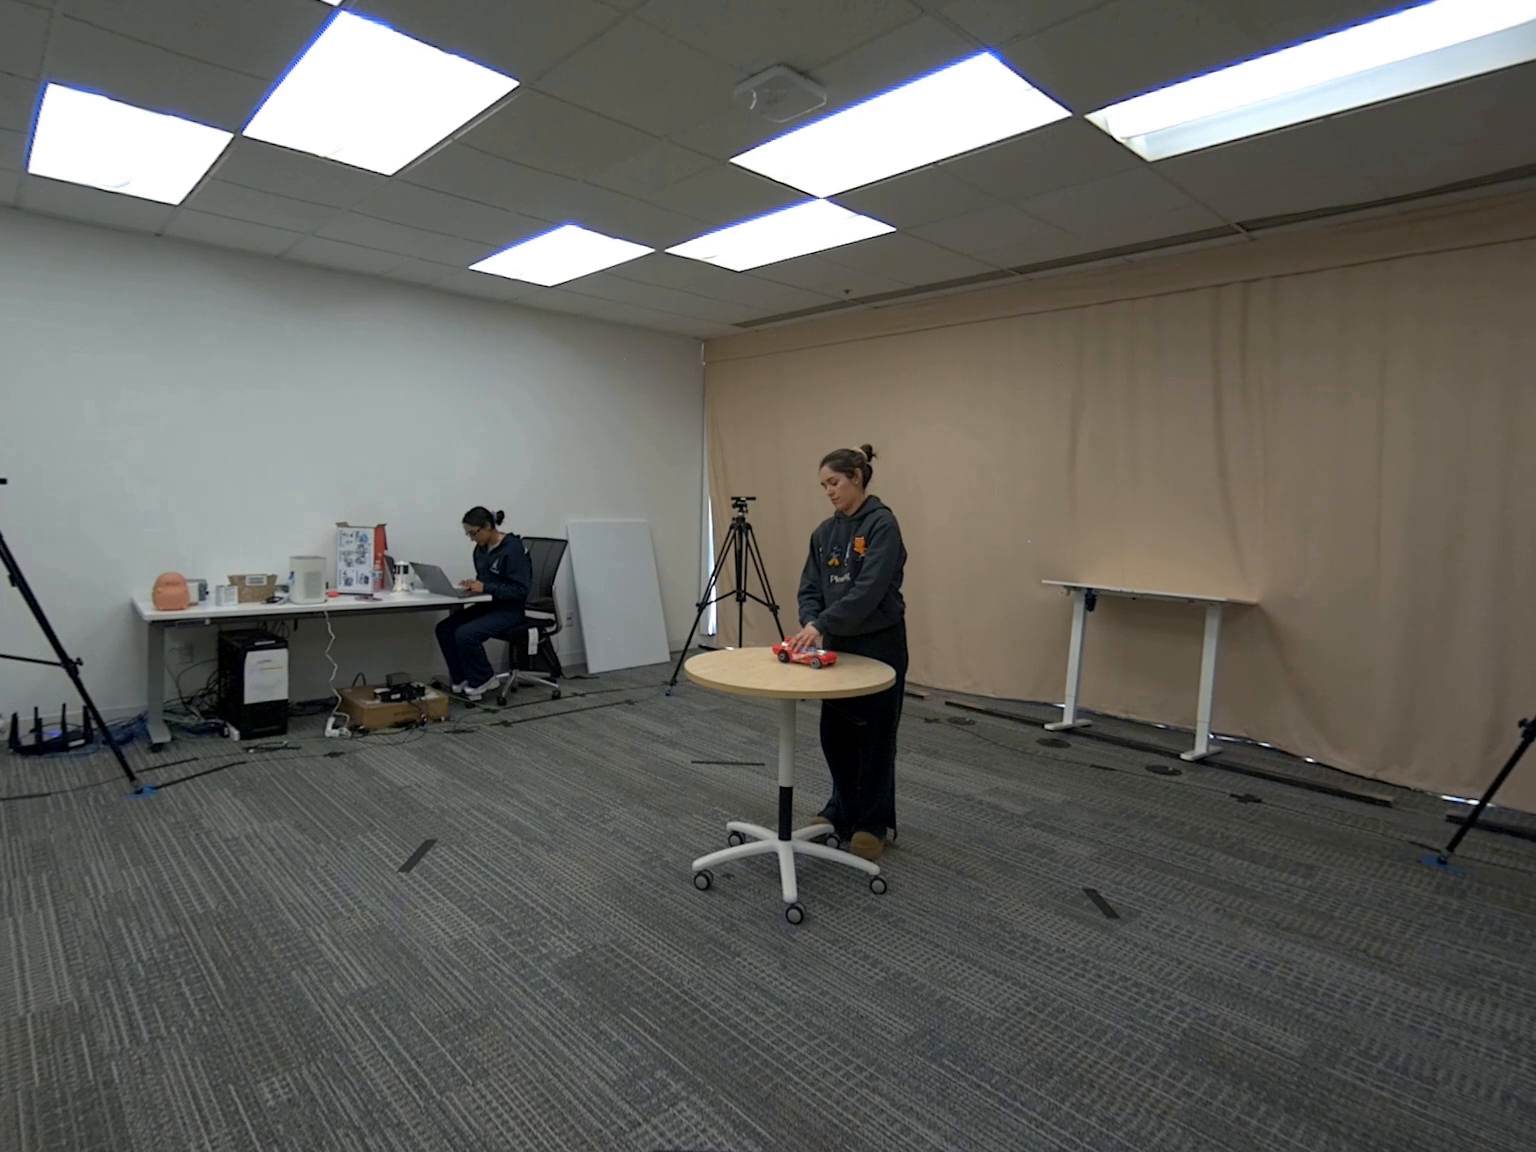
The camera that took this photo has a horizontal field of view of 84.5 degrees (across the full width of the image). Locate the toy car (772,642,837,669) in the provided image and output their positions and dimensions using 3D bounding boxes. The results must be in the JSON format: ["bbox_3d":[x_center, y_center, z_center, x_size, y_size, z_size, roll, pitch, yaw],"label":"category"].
[{"bbox_3d":[0.115,0.295,3.150,0.262,0.082,0.127,19,15,37],"label":"toy car"}]
